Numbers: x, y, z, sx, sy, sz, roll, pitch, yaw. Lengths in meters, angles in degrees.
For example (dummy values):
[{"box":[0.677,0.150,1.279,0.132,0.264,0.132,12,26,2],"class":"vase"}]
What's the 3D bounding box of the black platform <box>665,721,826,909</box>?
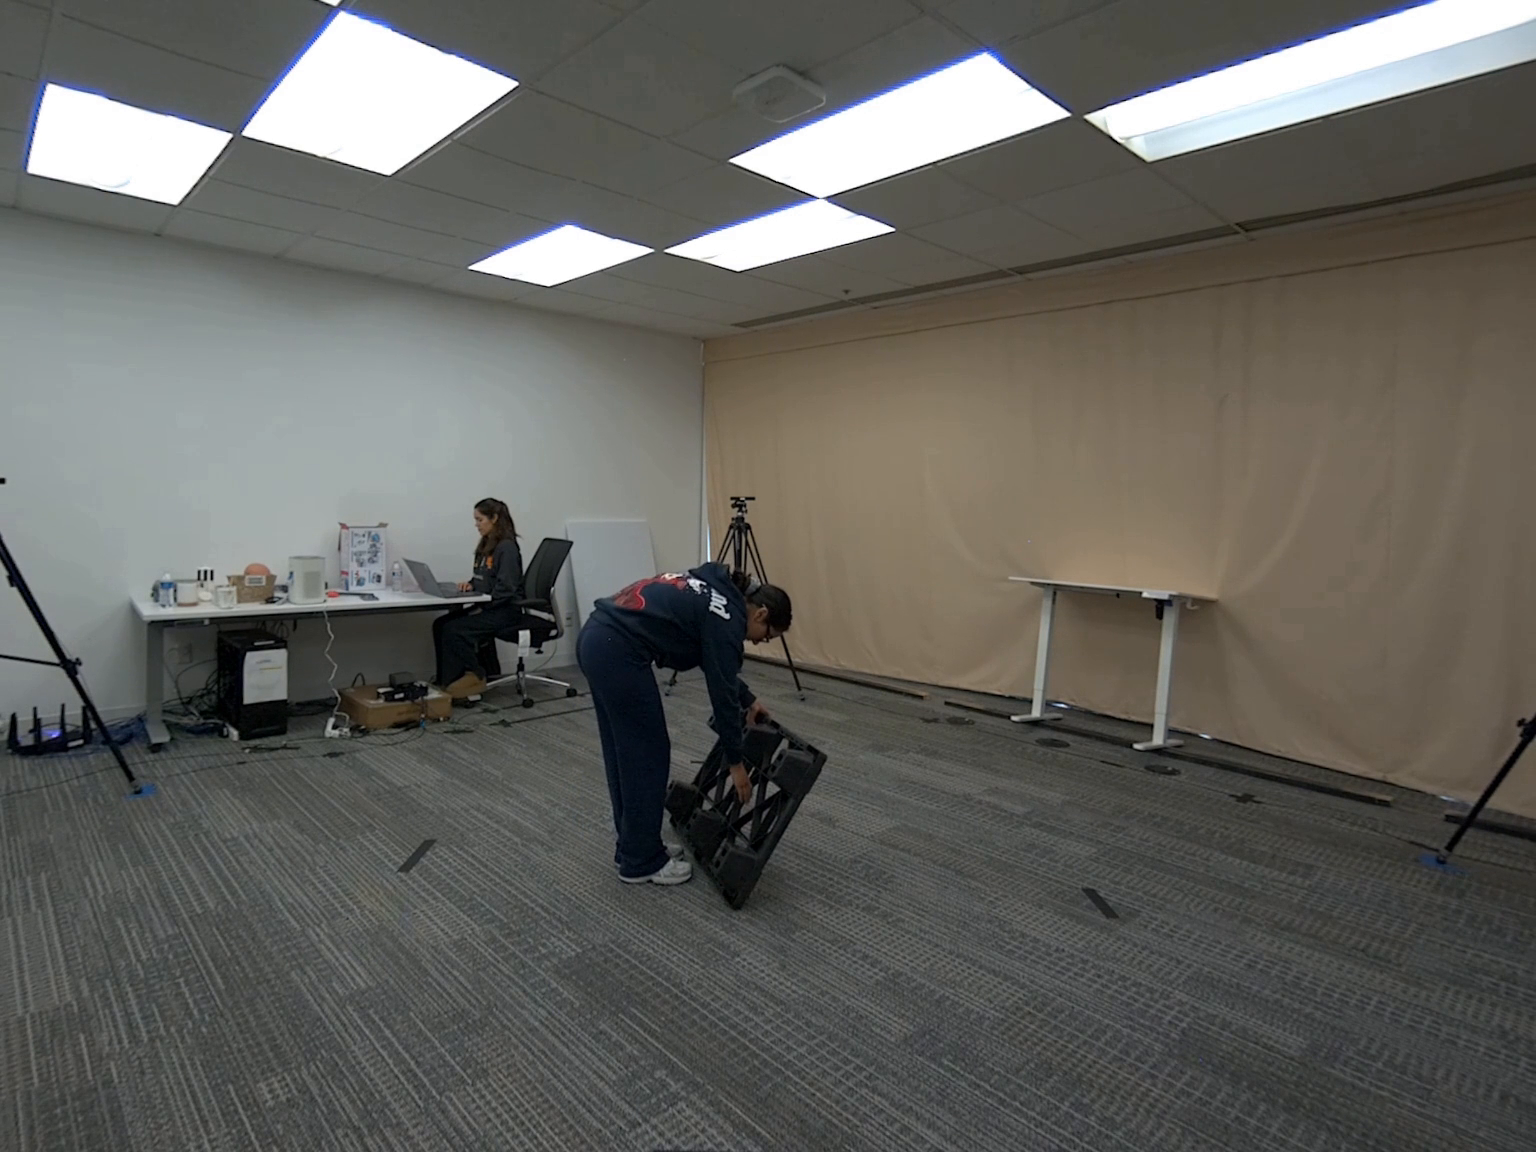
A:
[{"box":[-0.148,0.811,3.231,0.140,0.606,0.820,35,-8,-21],"class":"black platform"}]
